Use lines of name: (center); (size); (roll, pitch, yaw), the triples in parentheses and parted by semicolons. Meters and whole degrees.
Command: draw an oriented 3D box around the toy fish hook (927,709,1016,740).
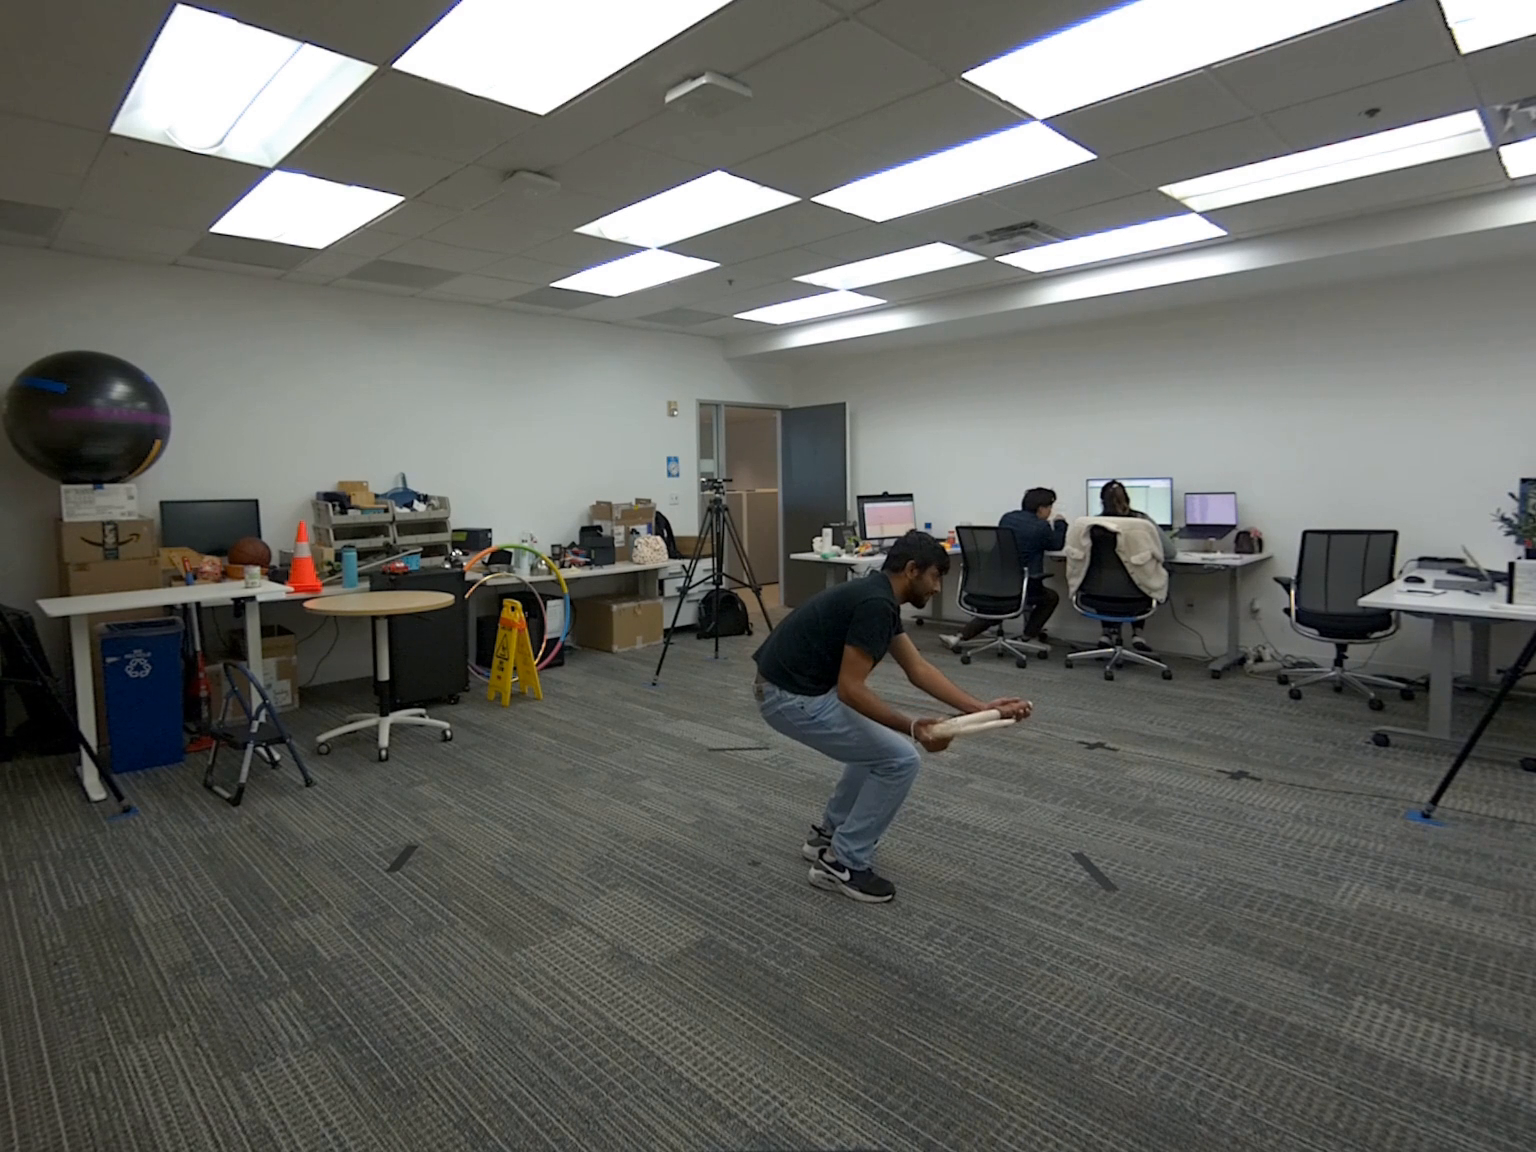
toy fish hook: (0.712, 0.439, 2.602); (0.494, 0.048, 0.229); (-6, -3, -38)
